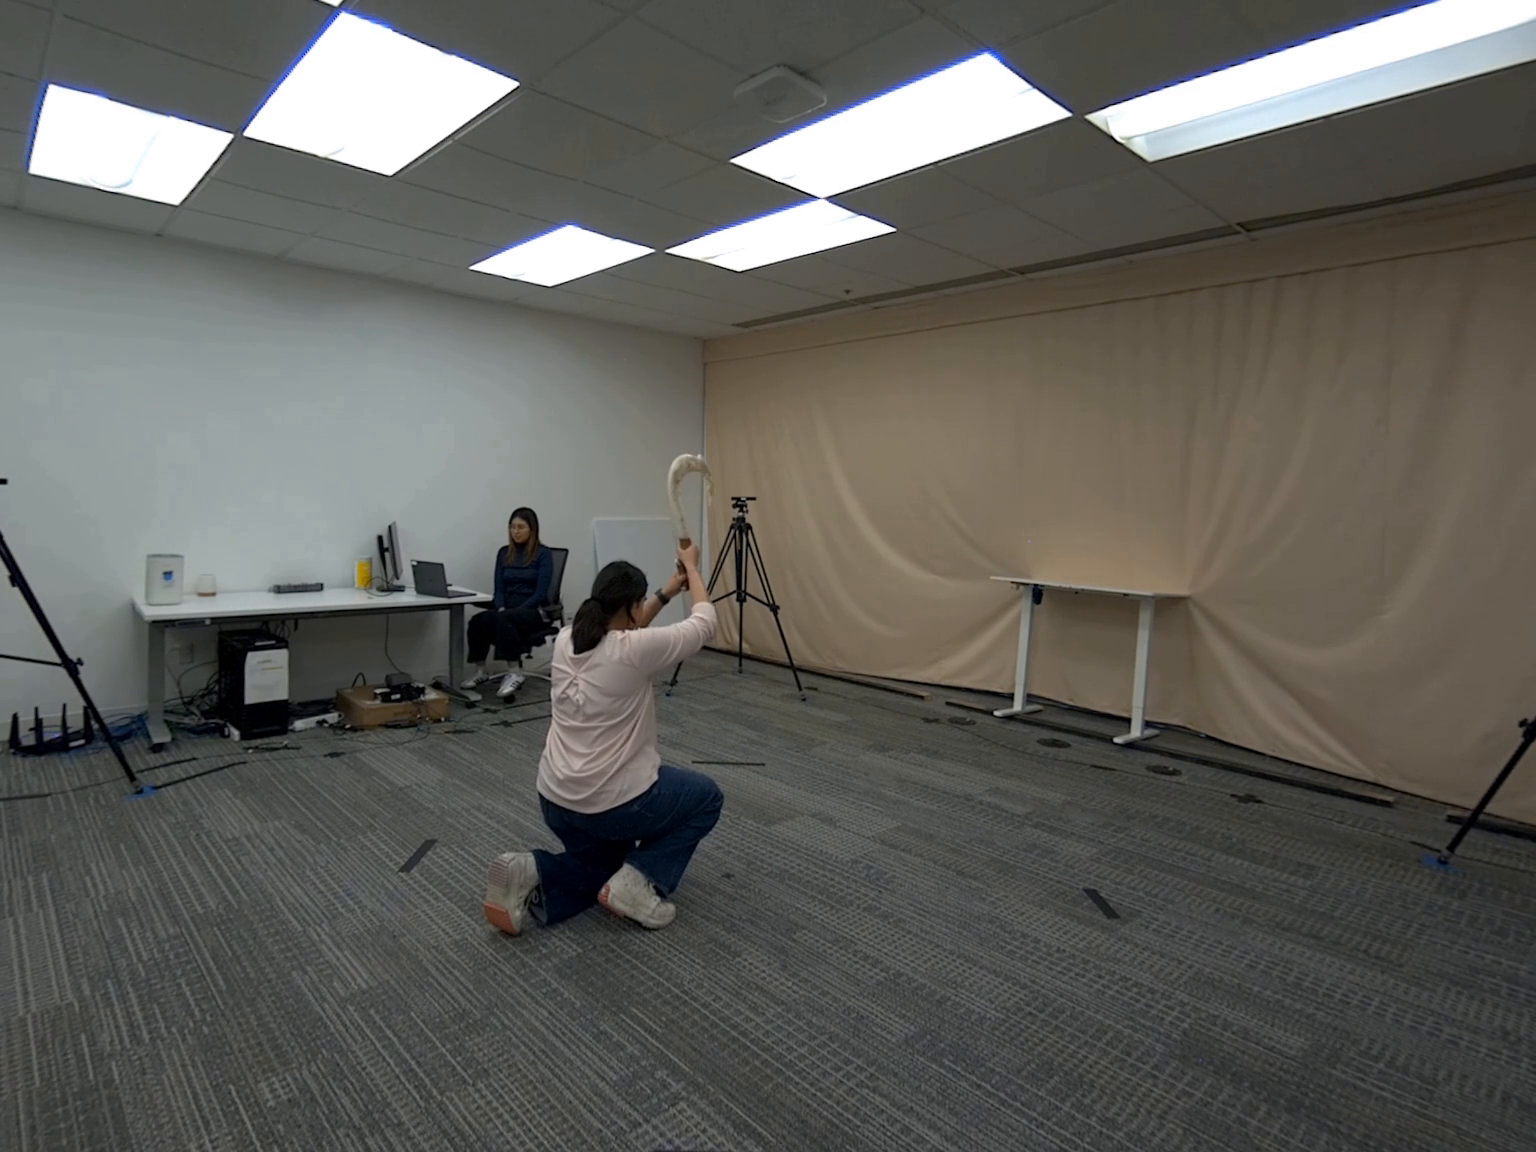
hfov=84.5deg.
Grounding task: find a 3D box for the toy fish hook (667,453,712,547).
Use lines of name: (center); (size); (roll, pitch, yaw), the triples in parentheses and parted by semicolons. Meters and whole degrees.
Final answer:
toy fish hook: (-0.290, -0.187, 3.144); (0.219, 0.505, 0.049); (-2, 4, -39)
